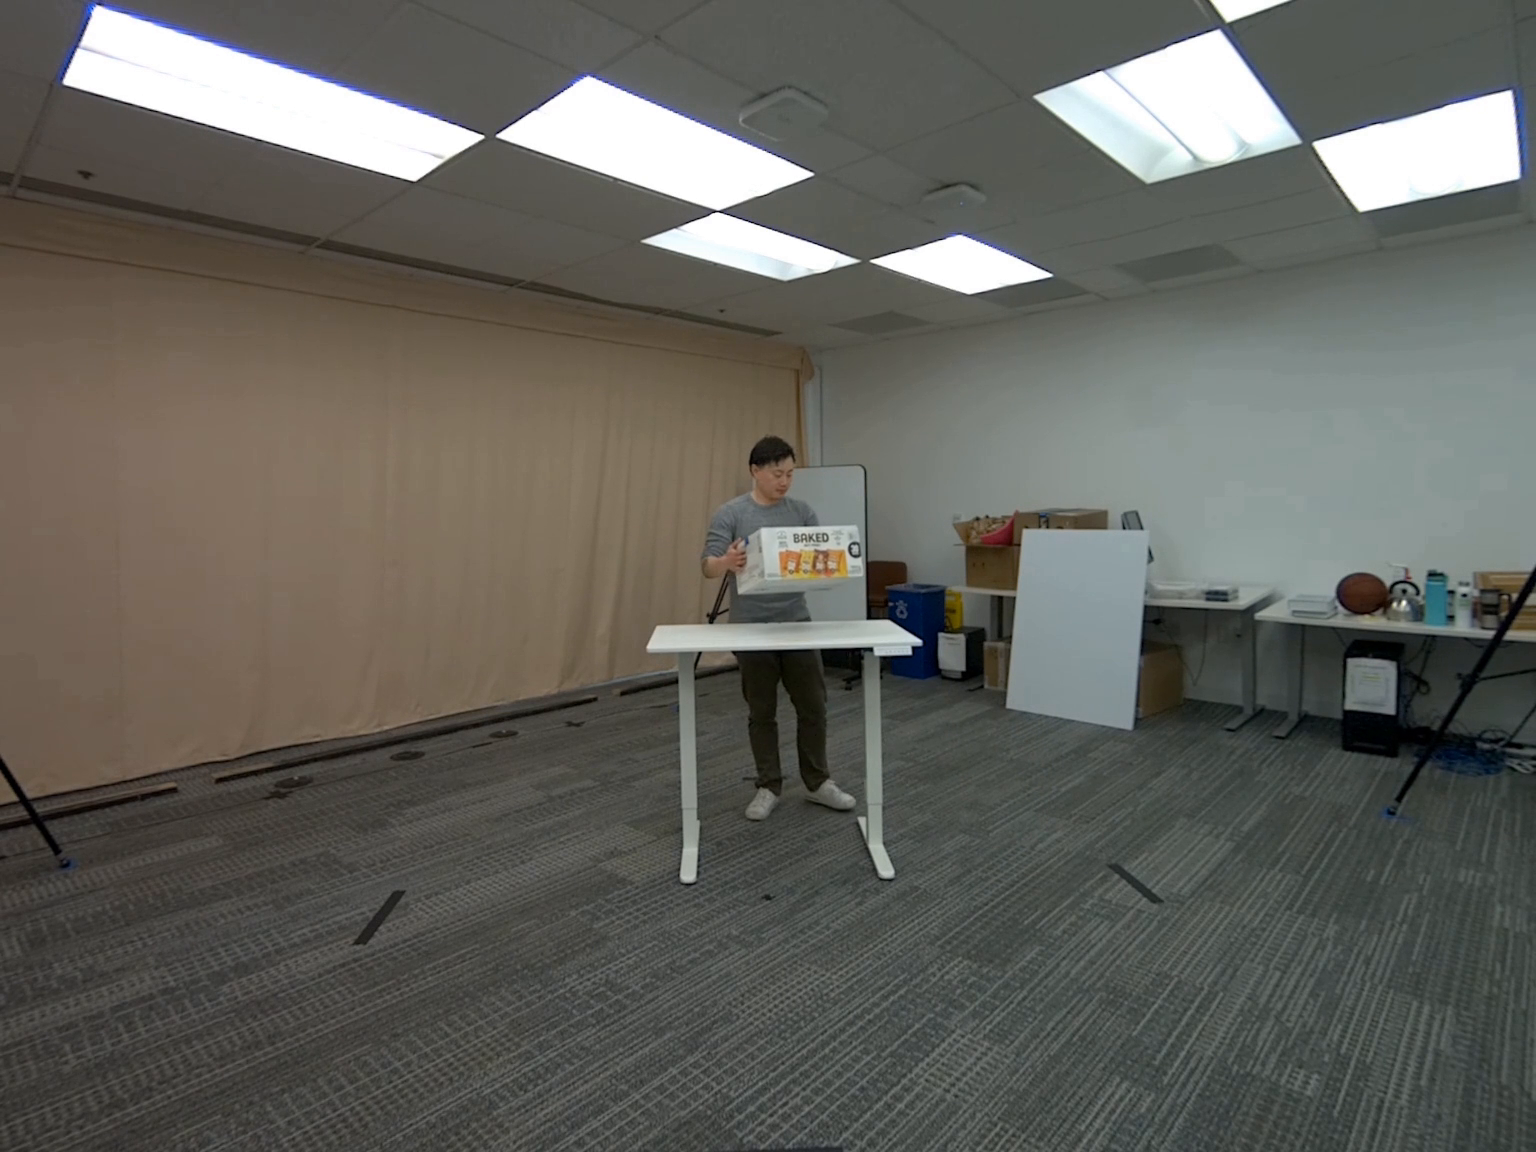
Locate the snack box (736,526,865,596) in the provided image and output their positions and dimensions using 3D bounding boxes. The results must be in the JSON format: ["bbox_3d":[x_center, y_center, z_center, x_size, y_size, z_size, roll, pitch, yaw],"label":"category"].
[{"bbox_3d":[0.114,-0.055,3.361,0.398,0.207,0.344,-2,-10,-19],"label":"snack box"}]
